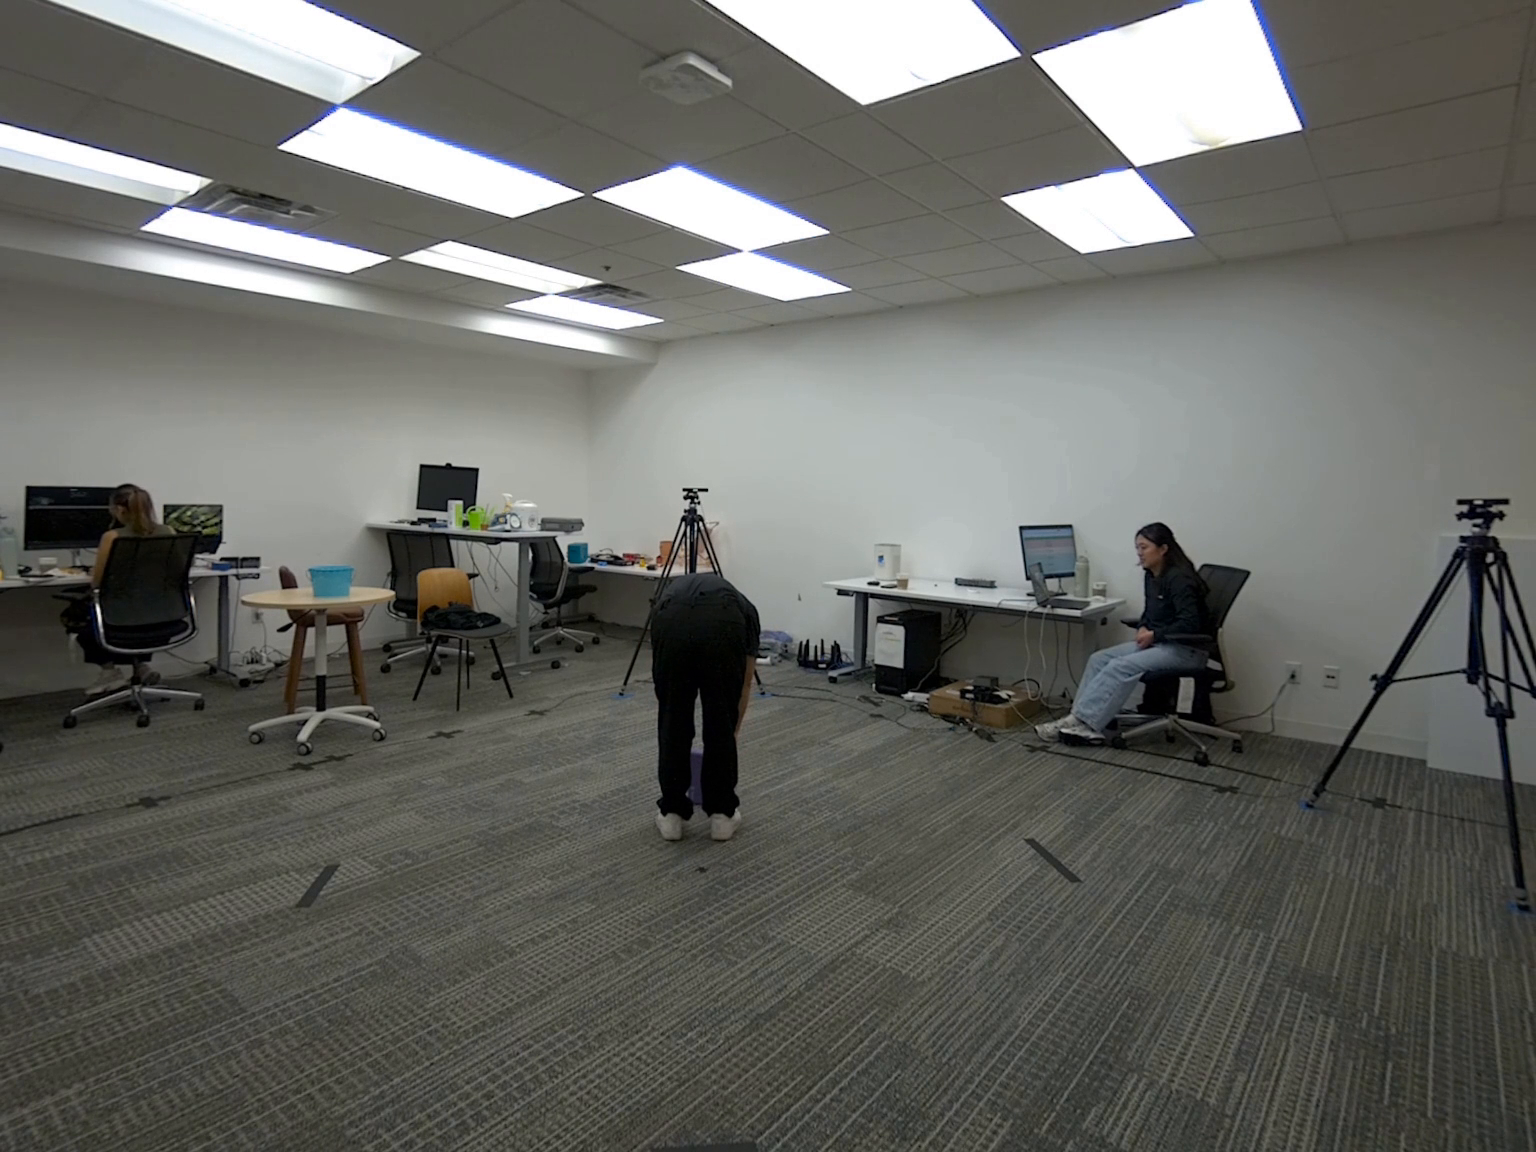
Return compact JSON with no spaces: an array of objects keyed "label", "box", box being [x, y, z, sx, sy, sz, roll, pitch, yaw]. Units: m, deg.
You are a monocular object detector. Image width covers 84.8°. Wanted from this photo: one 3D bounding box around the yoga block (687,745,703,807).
[{"label":"yoga block","box":[-0.283,0.883,3.762,0.150,0.229,0.076,3,2,5]}]
